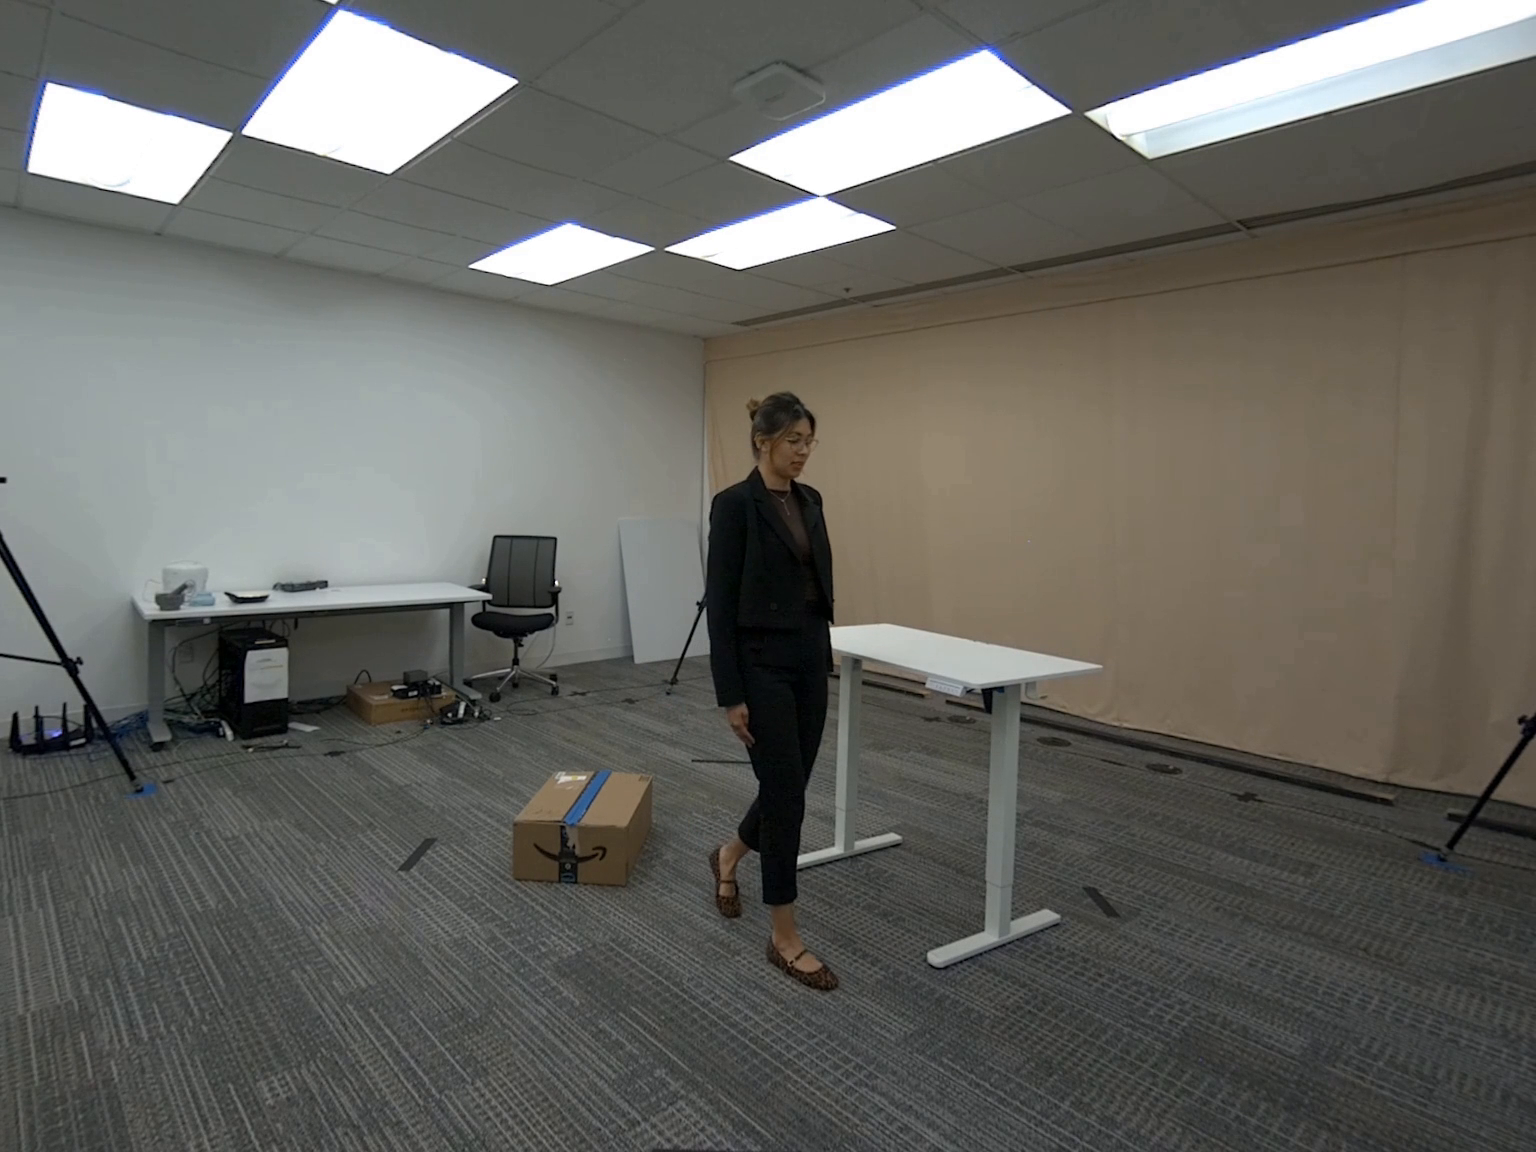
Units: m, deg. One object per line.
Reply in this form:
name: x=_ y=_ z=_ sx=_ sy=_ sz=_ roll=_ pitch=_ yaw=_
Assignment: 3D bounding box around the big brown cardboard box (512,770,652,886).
big brown cardboard box: x=-0.708 y=0.961 z=3.278 sx=0.418 sy=0.232 sz=0.590 roll=1 pitch=6 yaw=2
